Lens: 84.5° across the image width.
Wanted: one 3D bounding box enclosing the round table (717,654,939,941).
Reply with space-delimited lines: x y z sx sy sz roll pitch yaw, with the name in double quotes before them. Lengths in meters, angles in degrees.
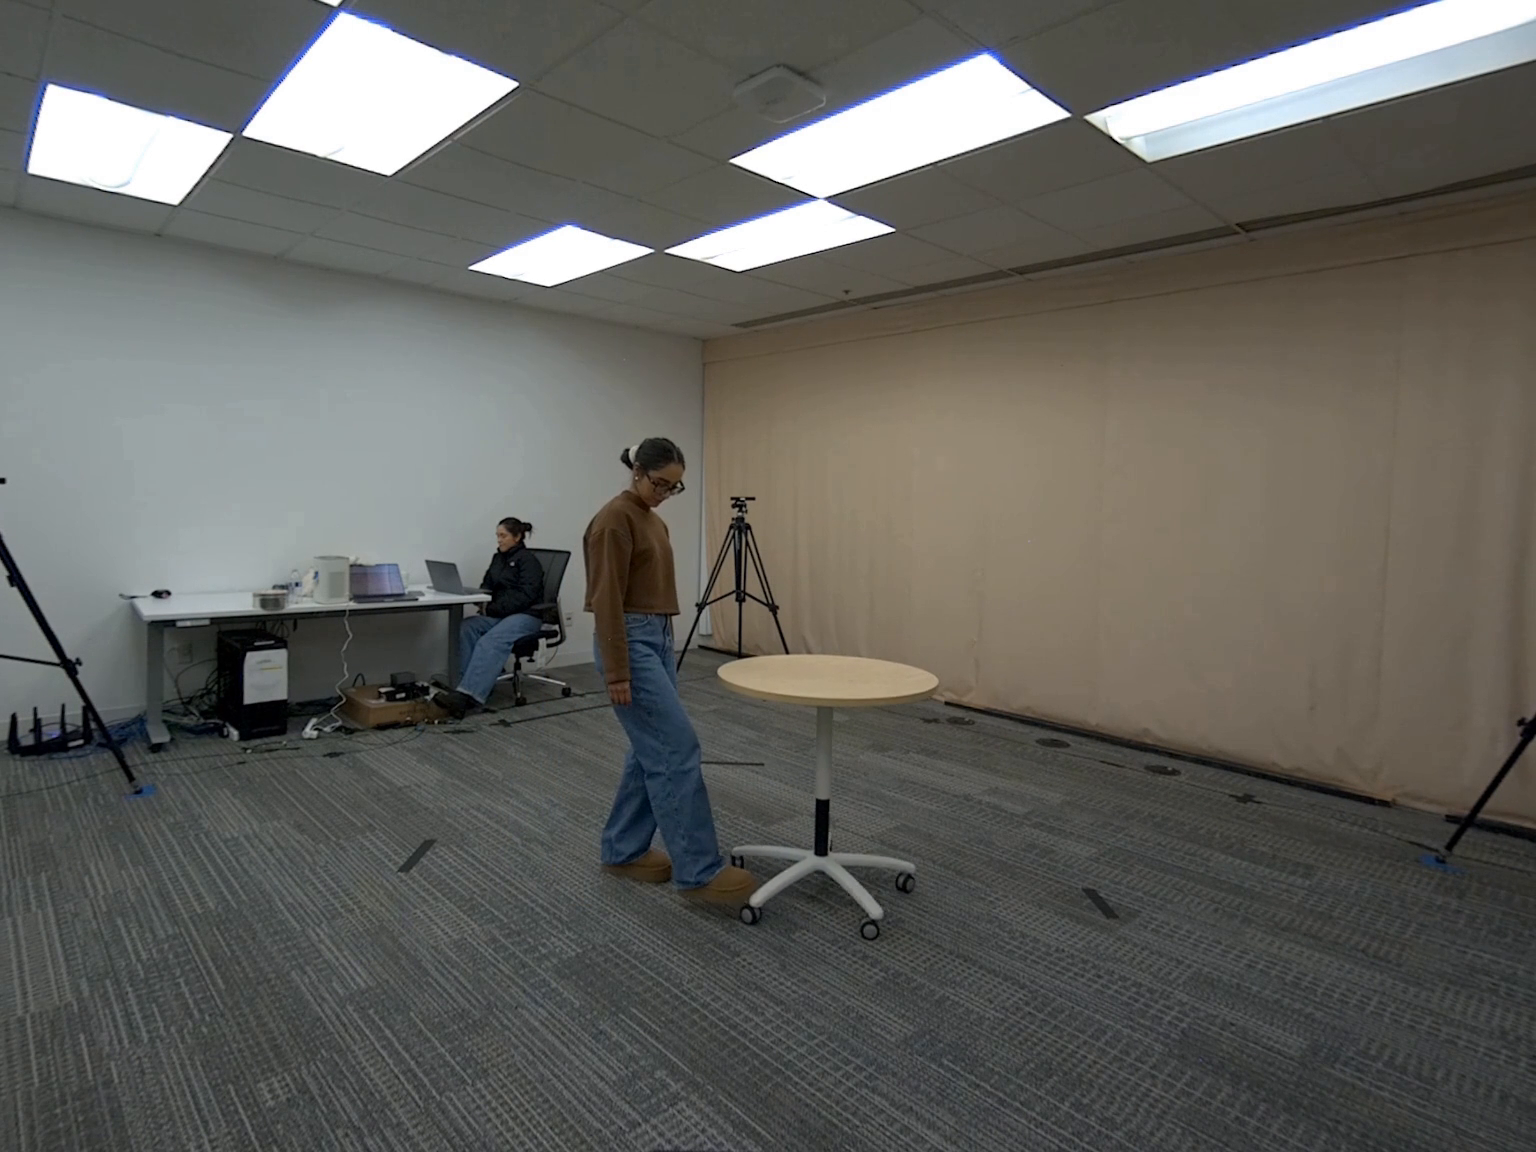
"round table" 0.180 0.737 2.968 0.763 0.792 0.766 1 3 -1
